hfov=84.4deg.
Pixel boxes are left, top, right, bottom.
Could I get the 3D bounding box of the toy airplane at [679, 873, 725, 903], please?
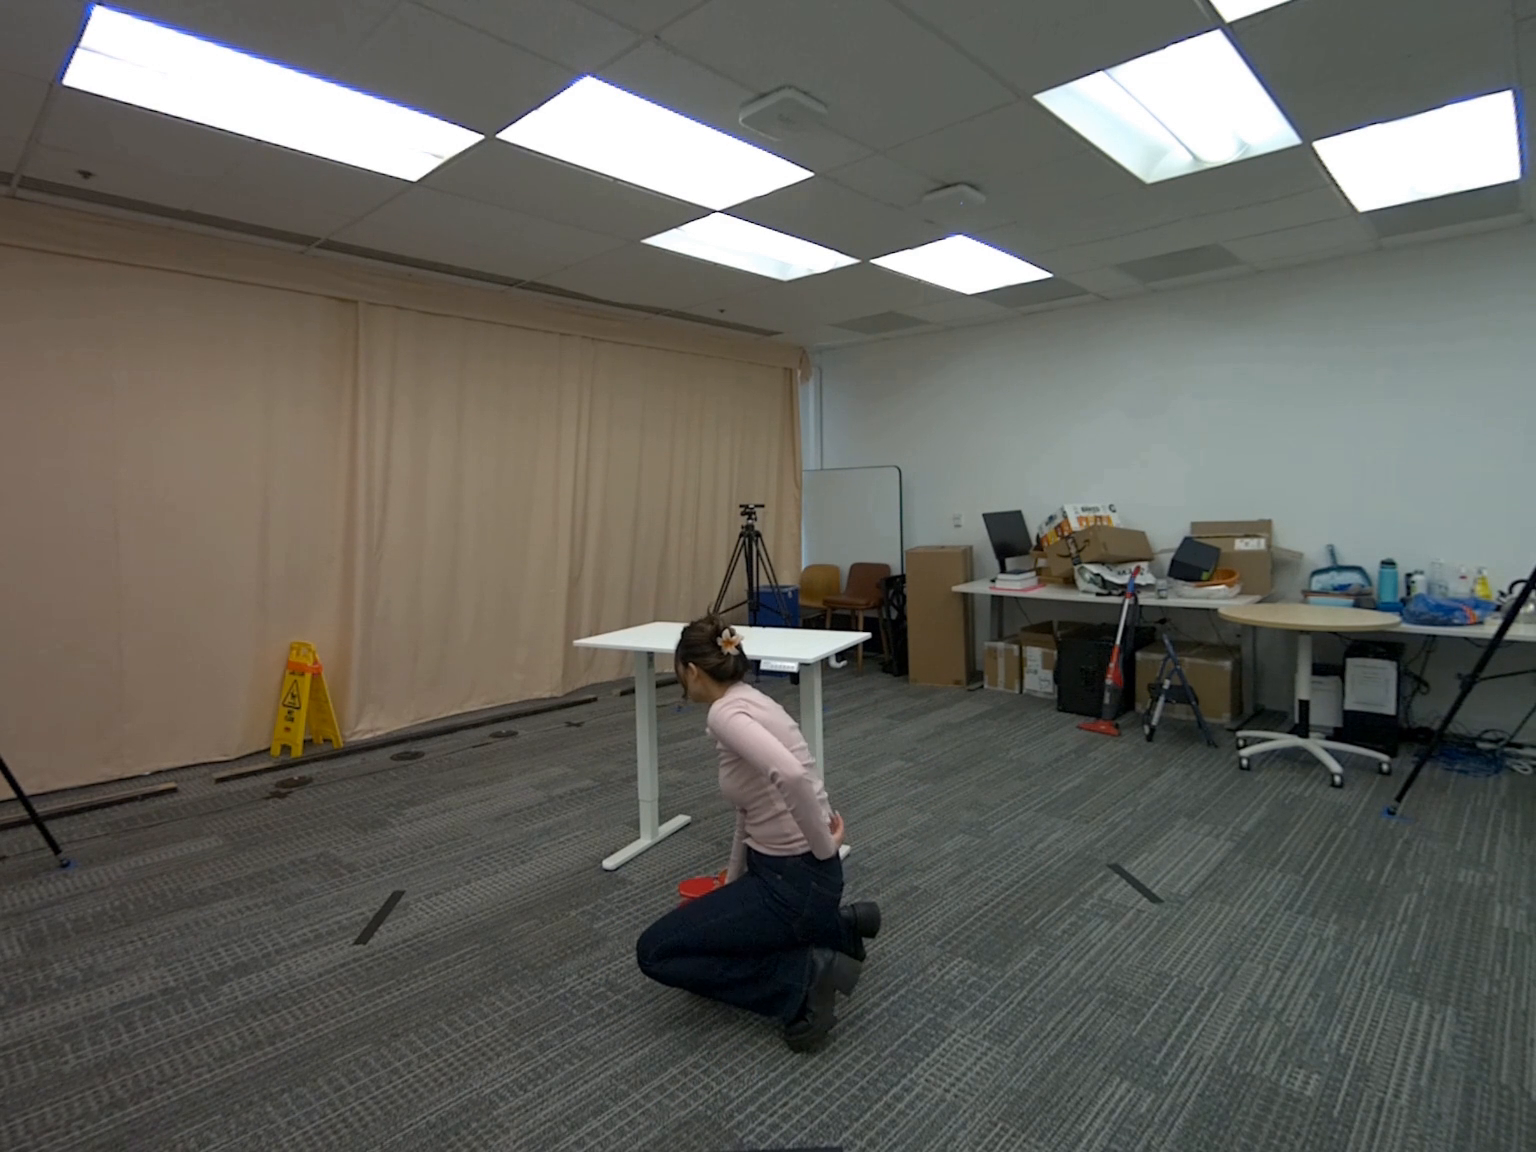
[{"bbox_3d":[-0.146,1.089,2.735,0.243,0.156,0.268,-2,5,-37],"label":"toy airplane"}]
